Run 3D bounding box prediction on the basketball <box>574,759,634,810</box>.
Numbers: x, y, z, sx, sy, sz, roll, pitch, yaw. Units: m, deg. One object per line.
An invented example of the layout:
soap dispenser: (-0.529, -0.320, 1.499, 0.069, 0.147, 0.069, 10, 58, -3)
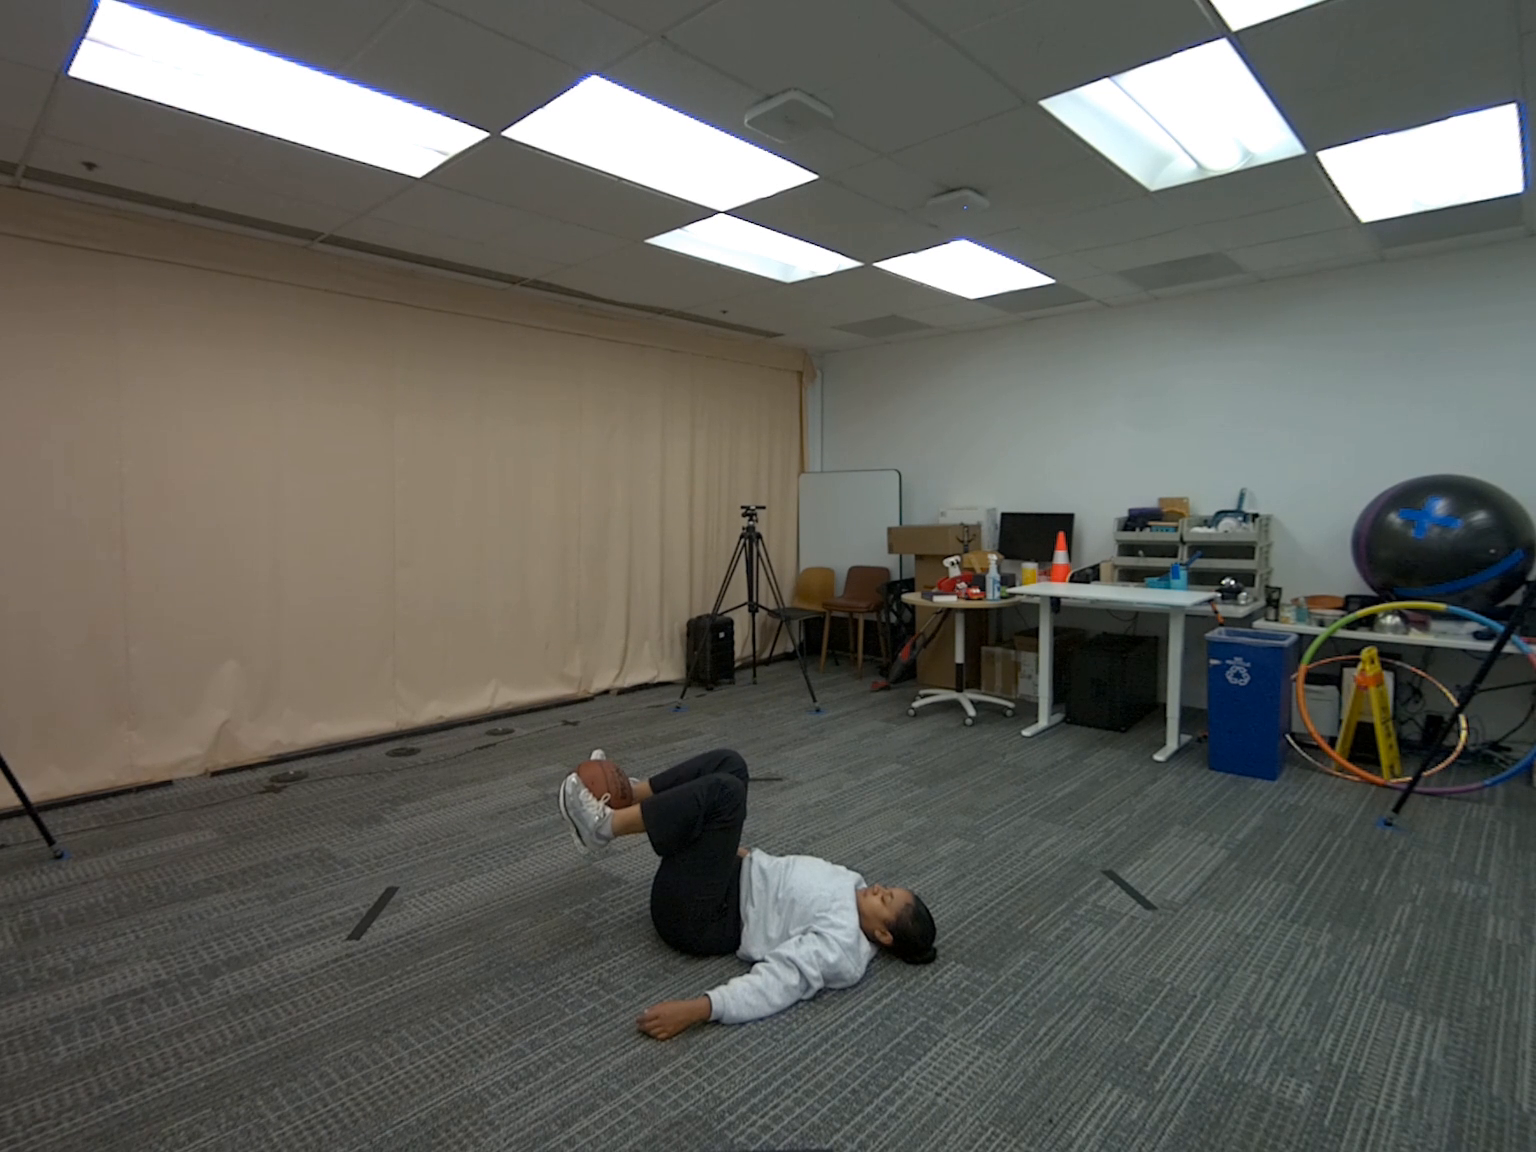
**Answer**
basketball: (-0.566, 0.725, 2.772, 0.236, 0.236, 0.236, 2, 0, -2)
